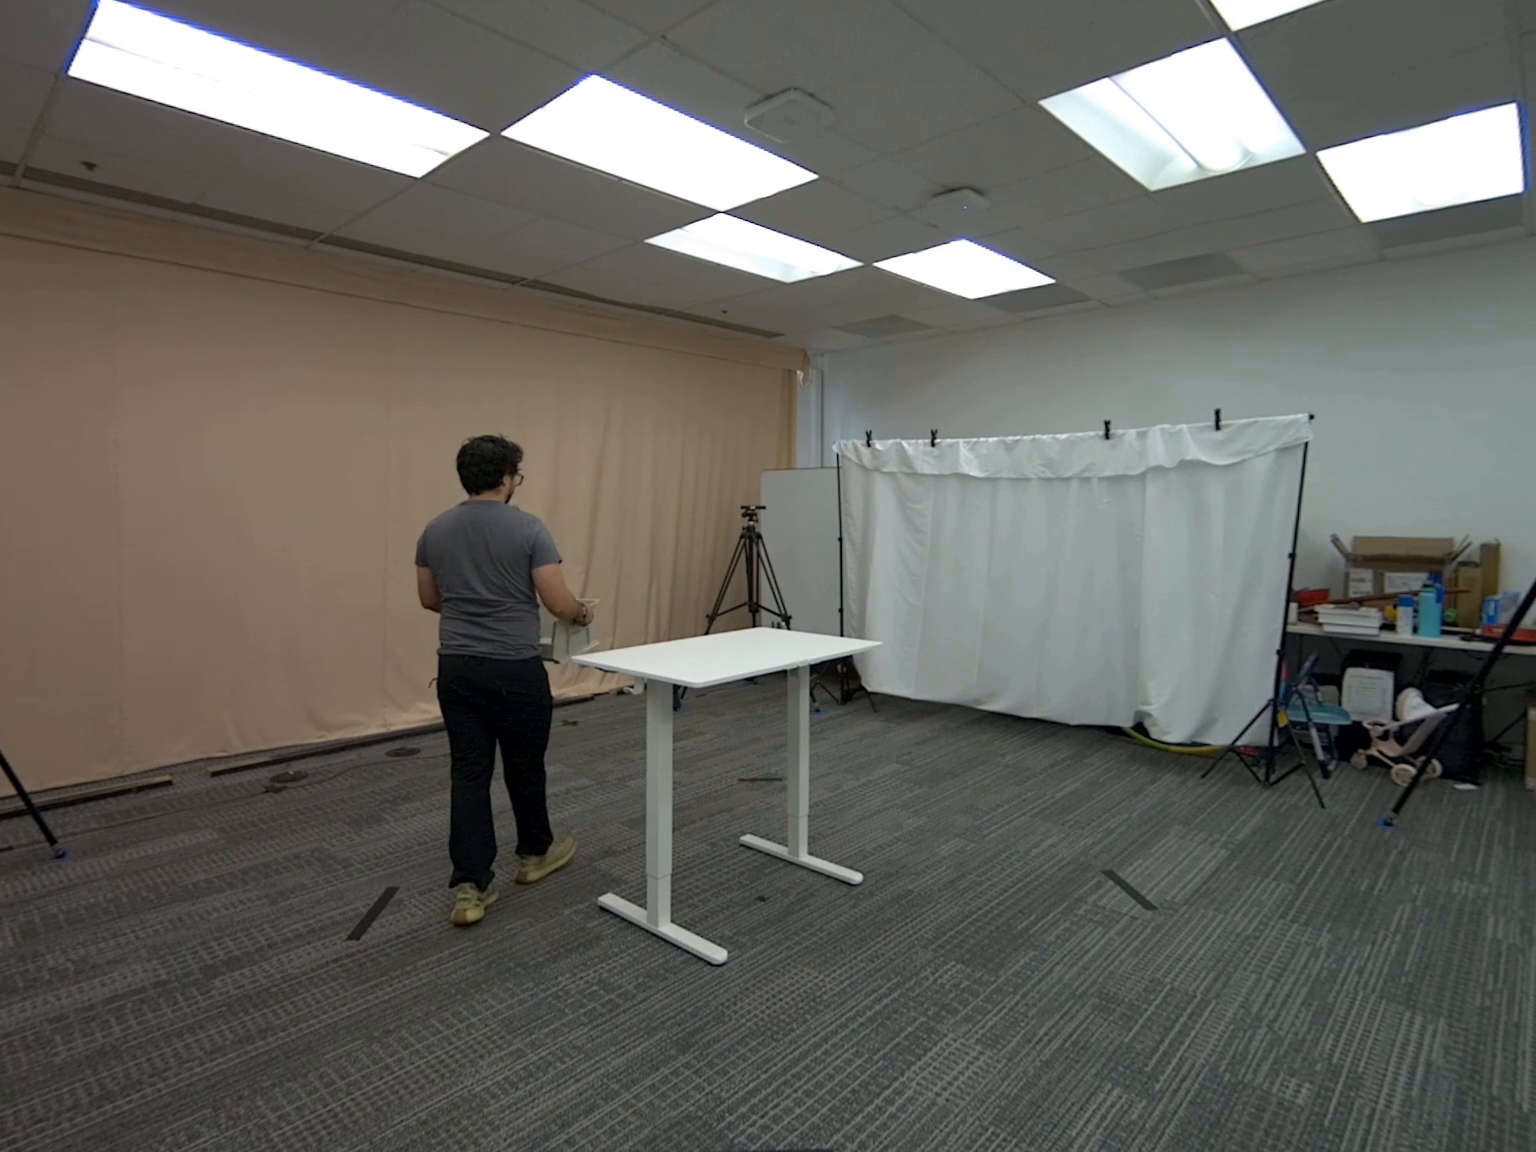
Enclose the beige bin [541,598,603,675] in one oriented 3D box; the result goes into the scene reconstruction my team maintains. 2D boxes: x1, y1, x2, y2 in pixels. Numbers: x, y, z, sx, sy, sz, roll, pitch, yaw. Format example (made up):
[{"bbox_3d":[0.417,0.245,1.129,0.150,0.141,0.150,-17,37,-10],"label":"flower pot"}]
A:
[{"bbox_3d":[-0.931,0.220,3.296,0.431,0.187,0.372,1,12,20],"label":"beige bin"}]
